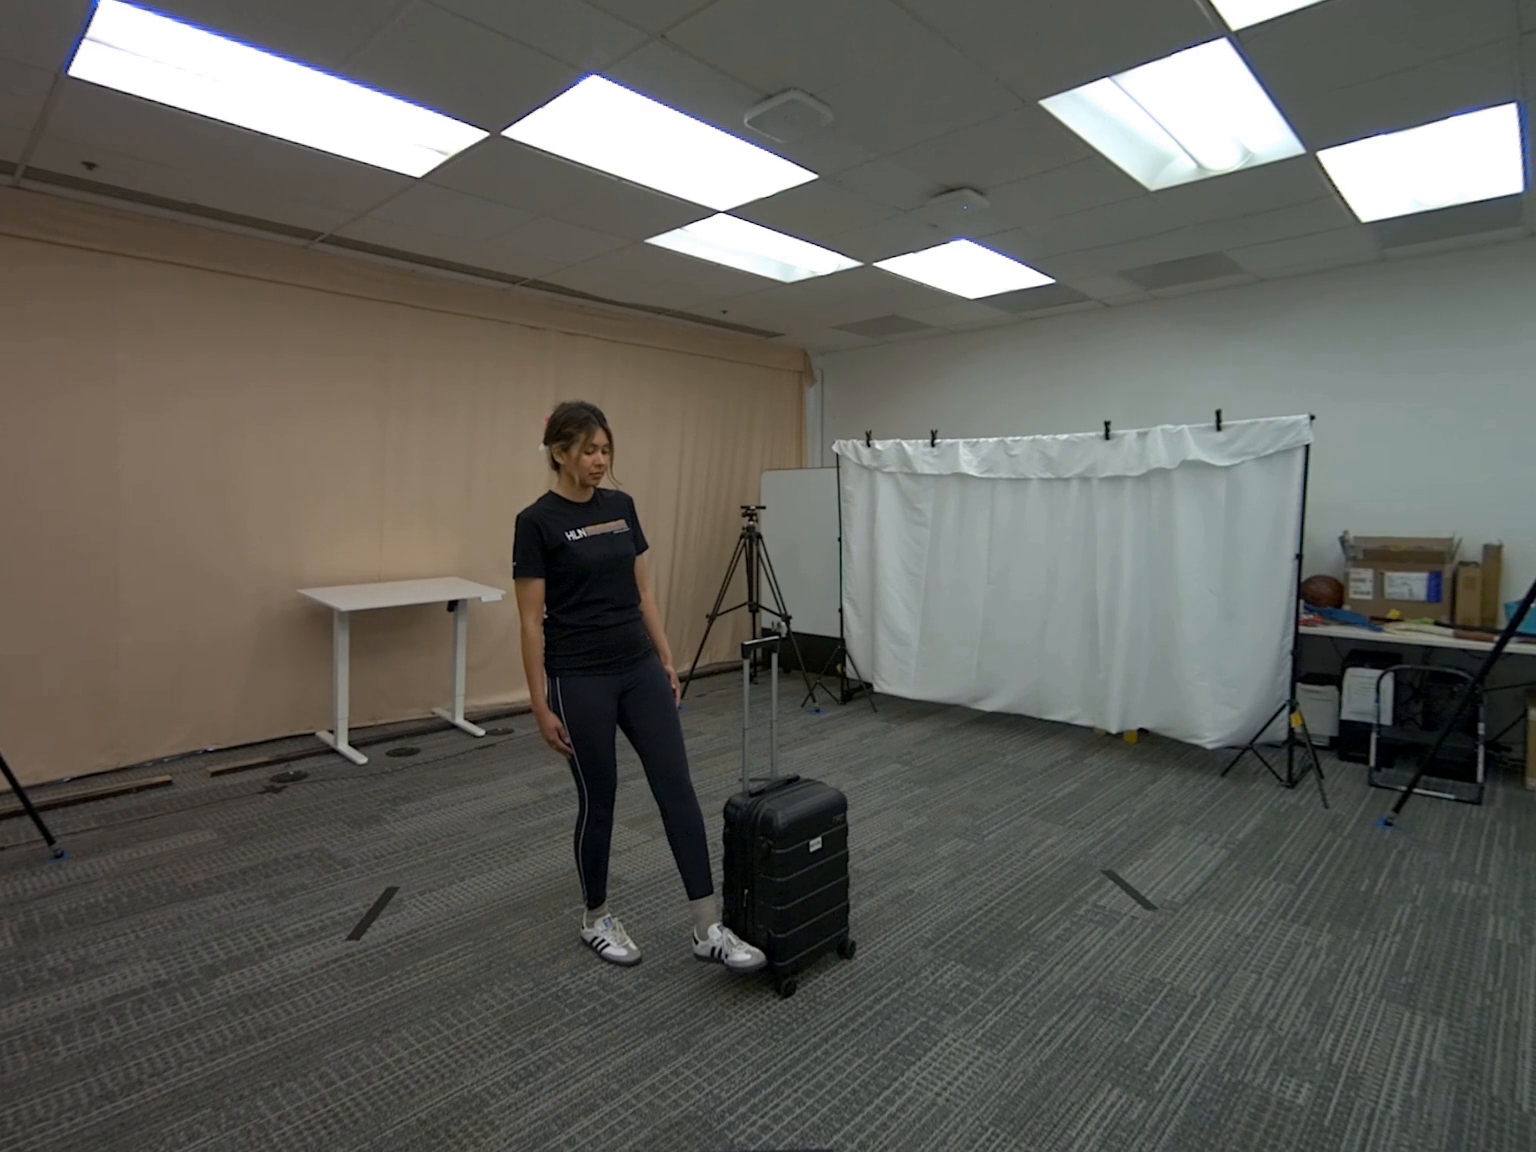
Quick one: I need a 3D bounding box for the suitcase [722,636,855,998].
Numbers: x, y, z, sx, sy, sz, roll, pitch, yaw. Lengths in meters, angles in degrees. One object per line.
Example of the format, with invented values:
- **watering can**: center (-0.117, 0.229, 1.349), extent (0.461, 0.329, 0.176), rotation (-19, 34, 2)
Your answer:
- **suitcase**: center (0.073, 0.709, 2.531), extent (0.266, 0.975, 0.372), rotation (6, 8, 44)
